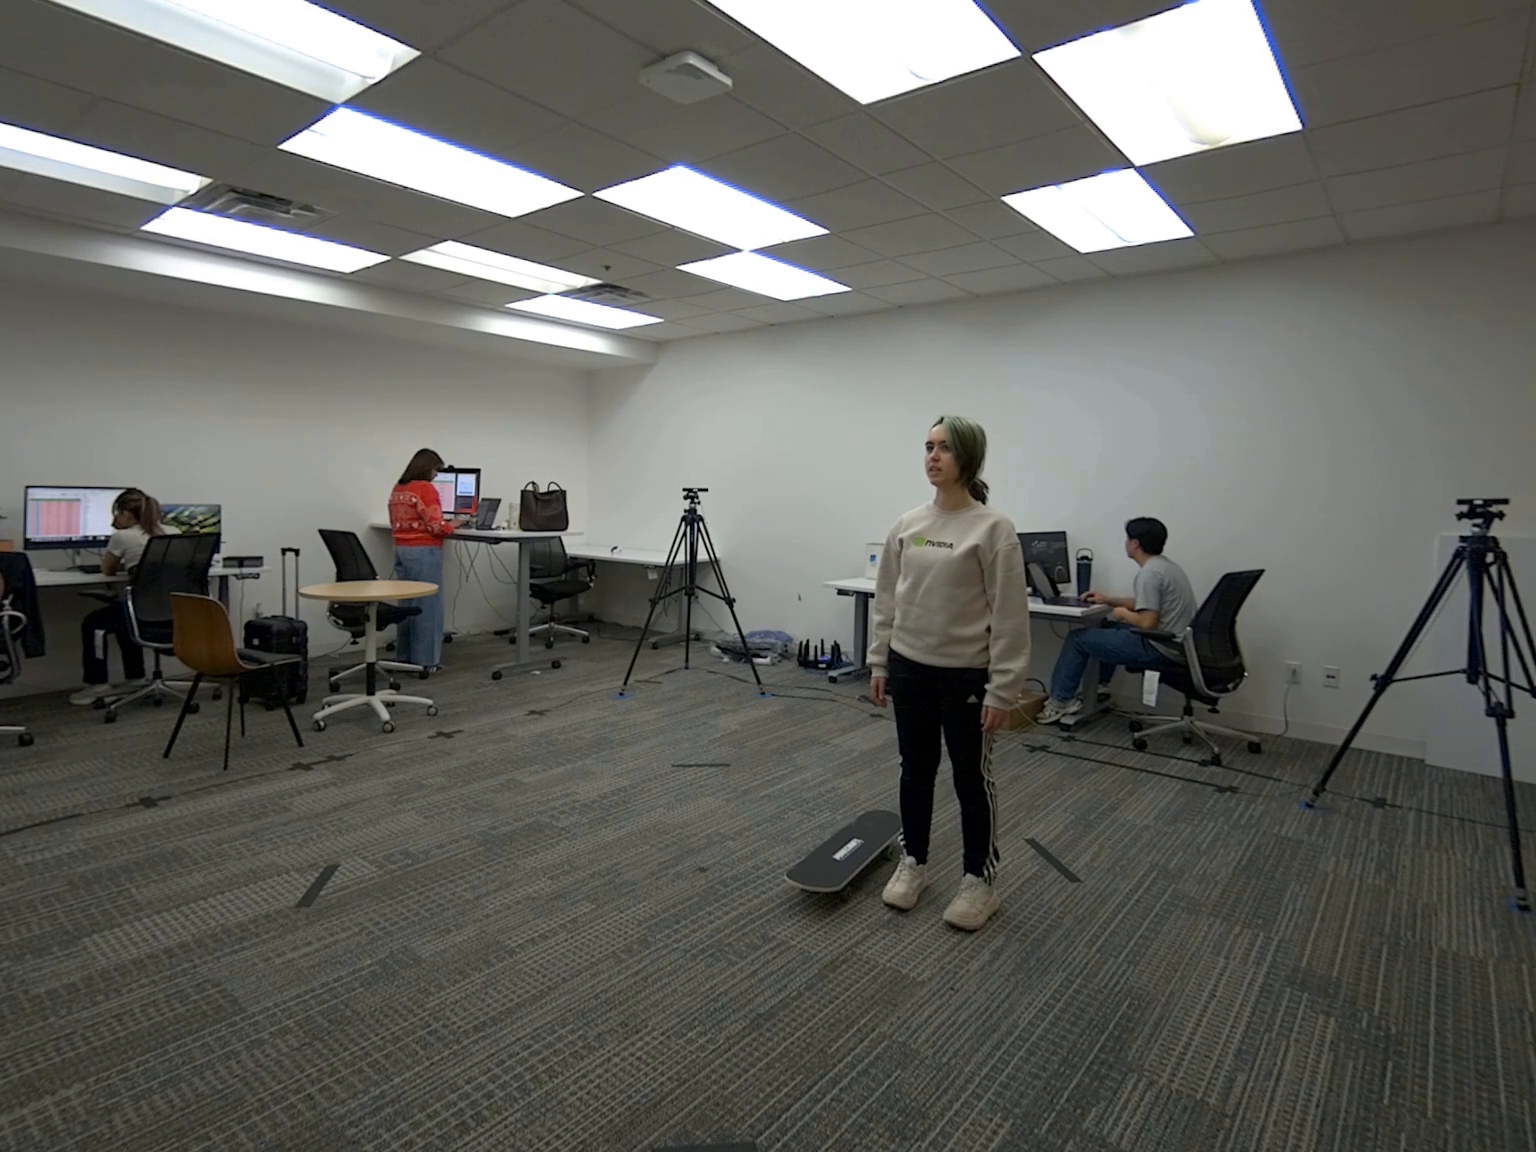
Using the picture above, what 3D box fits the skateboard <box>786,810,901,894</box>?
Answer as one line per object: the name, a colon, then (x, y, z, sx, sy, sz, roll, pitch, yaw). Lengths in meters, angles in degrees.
skateboard: (0.292, 1.026, 3.105, 0.199, 0.110, 0.766, 5, 7, 29)
